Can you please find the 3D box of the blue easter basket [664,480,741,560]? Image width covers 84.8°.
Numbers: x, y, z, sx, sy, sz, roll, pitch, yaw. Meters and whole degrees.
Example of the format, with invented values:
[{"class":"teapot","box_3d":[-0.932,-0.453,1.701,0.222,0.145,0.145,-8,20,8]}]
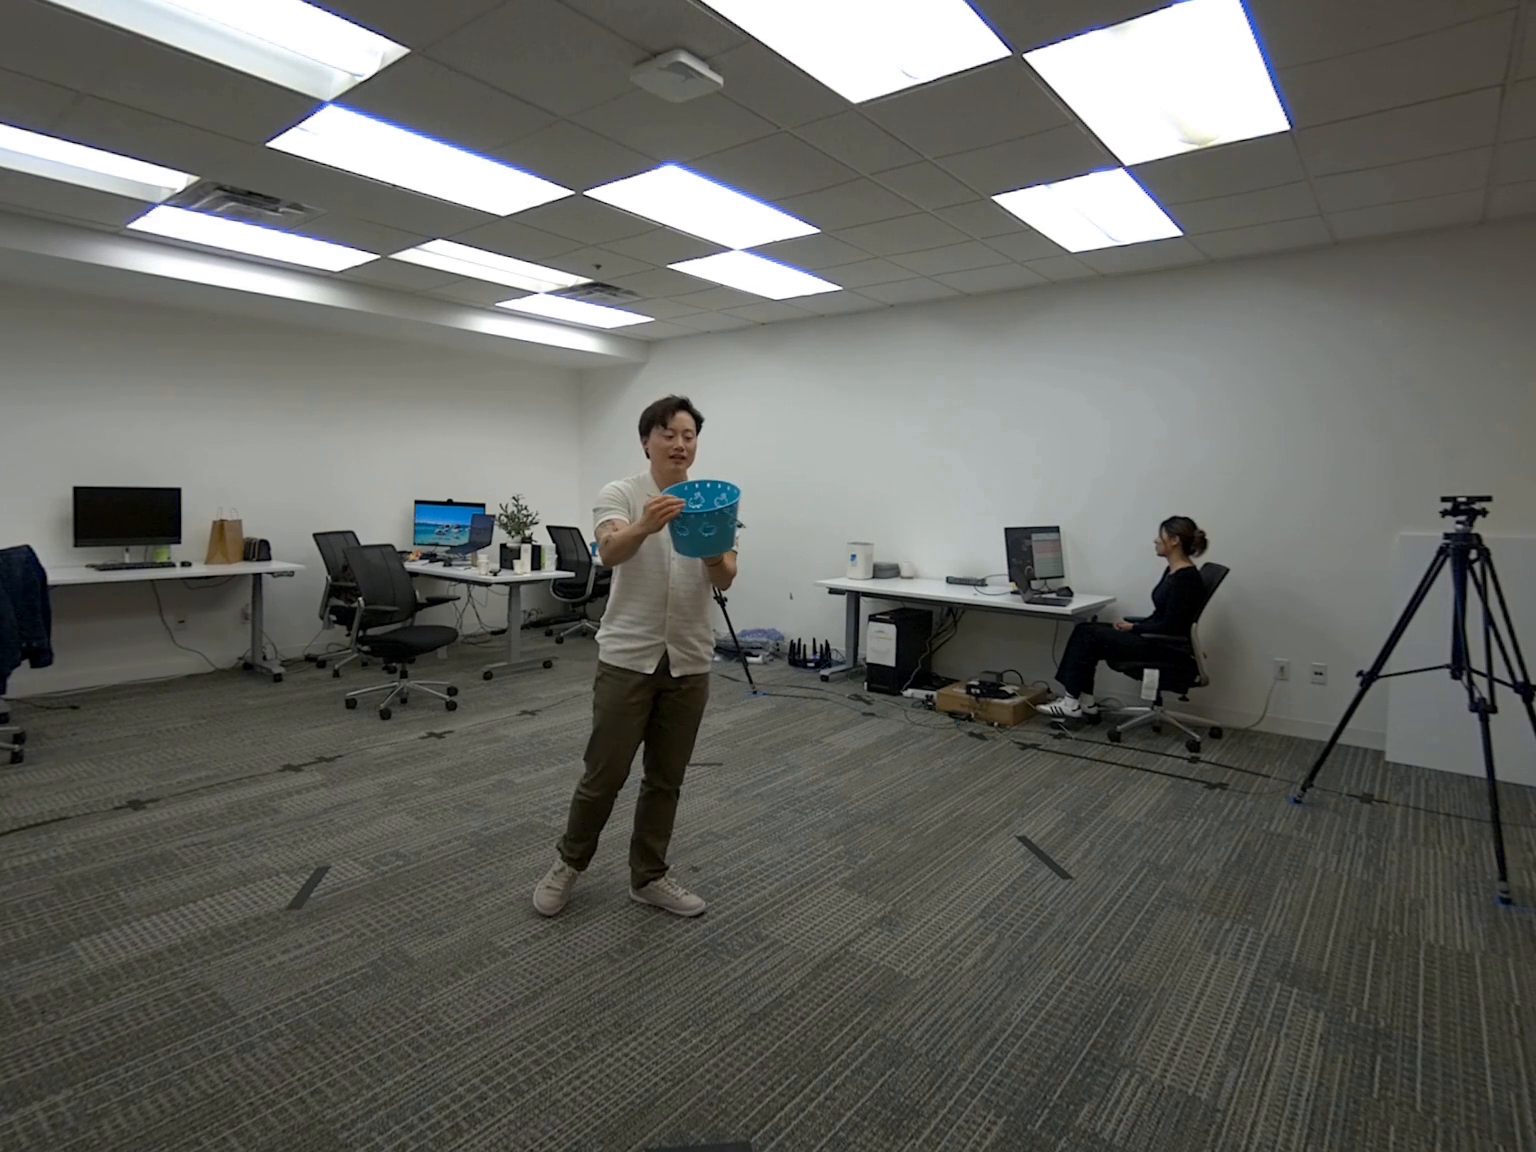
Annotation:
[{"class":"blue easter basket","box_3d":[-0.182,-0.161,2.410,0.244,0.152,0.249,-3,27,0]}]
